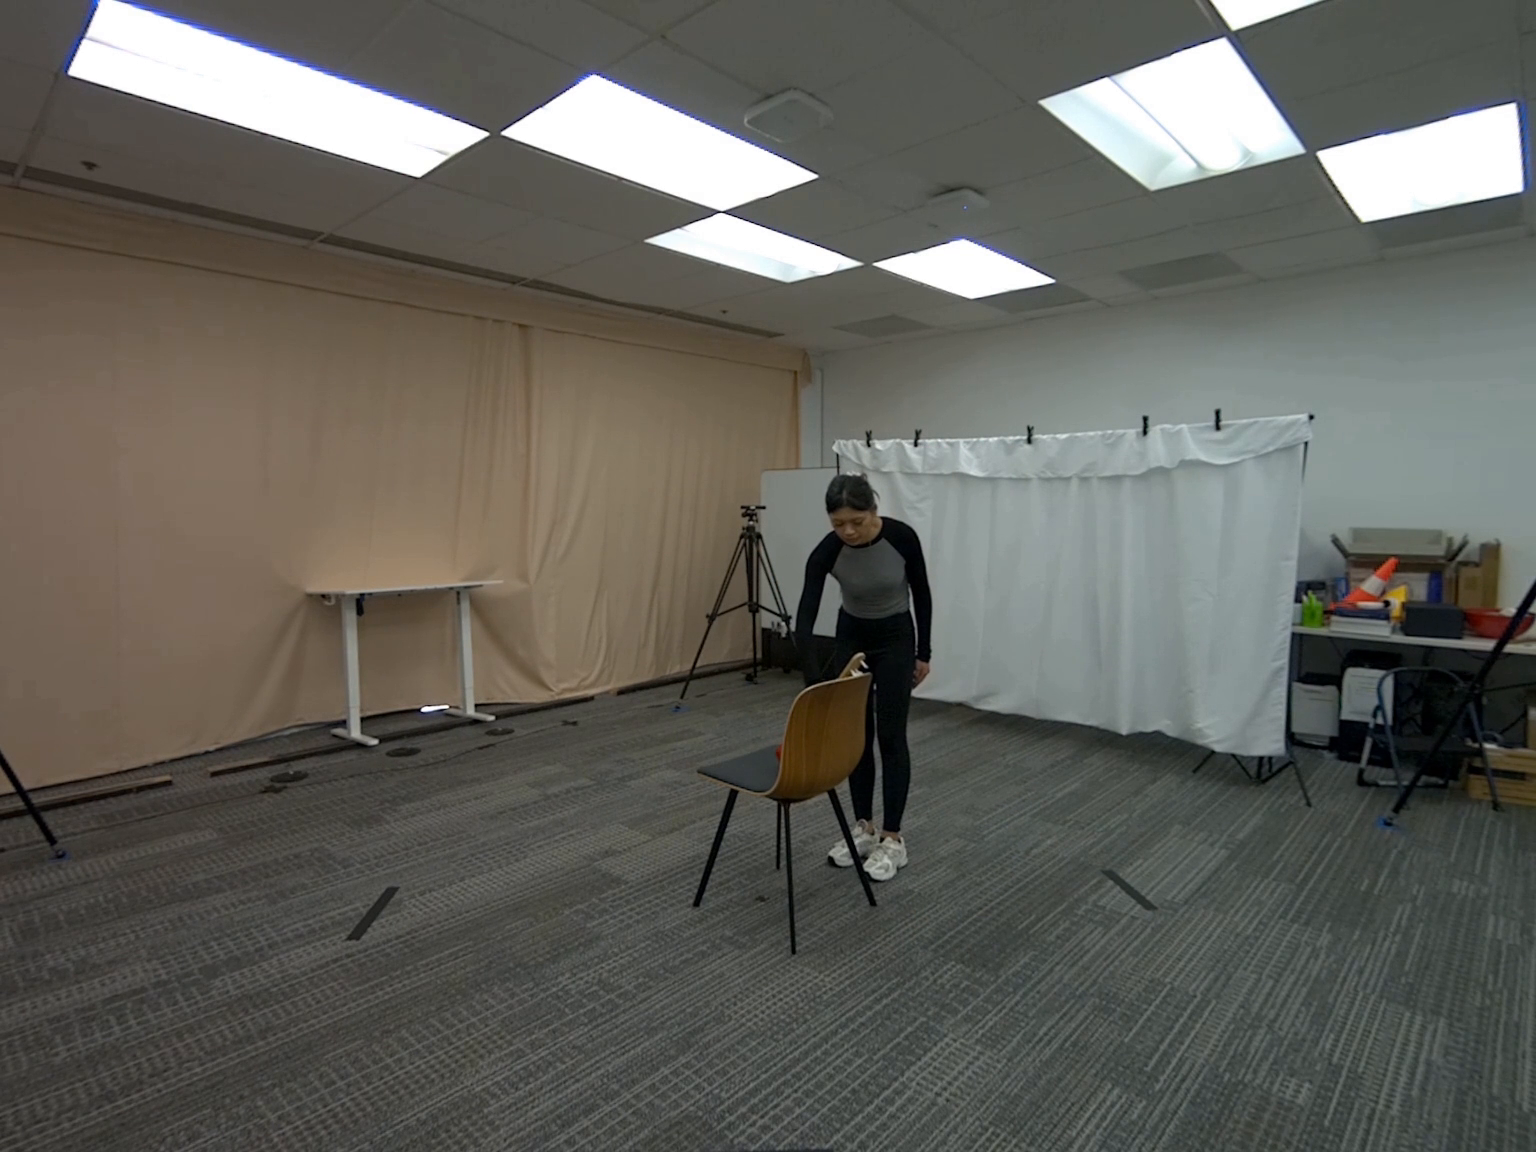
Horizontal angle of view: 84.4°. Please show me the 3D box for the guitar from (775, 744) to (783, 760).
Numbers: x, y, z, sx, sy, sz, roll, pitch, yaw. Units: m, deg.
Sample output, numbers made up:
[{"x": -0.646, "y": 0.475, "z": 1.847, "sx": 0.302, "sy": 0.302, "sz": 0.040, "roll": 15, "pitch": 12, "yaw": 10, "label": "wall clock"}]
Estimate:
[{"x": 0.177, "y": 0.463, "z": 2.811, "sx": 0.187, "sy": 0.495, "sz": 0.073, "roll": -7, "pitch": 43, "yaw": -37, "label": "guitar"}]
